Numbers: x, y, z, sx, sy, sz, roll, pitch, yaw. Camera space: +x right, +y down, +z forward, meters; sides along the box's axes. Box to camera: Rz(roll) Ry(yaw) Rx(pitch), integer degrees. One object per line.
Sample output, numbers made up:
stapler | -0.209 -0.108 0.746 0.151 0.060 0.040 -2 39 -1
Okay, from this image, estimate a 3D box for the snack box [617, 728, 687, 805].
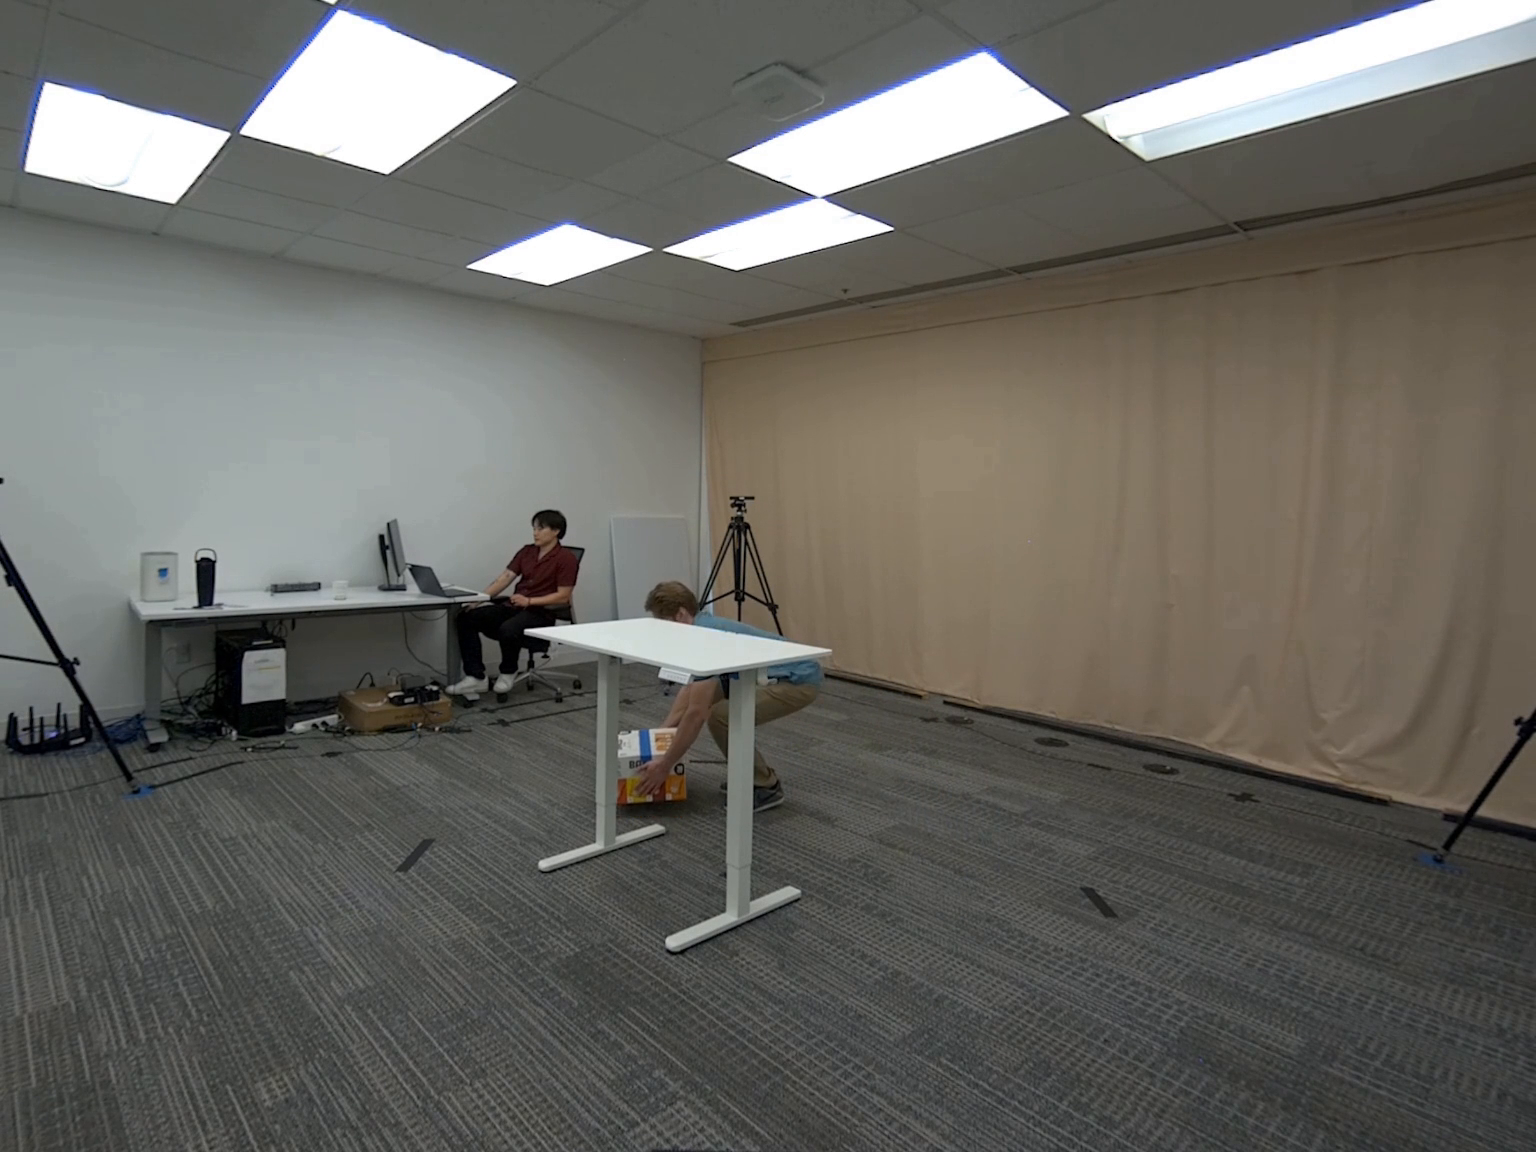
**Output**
snack box | -0.568 0.848 3.830 0.338 0.205 0.409 -2 6 -9
